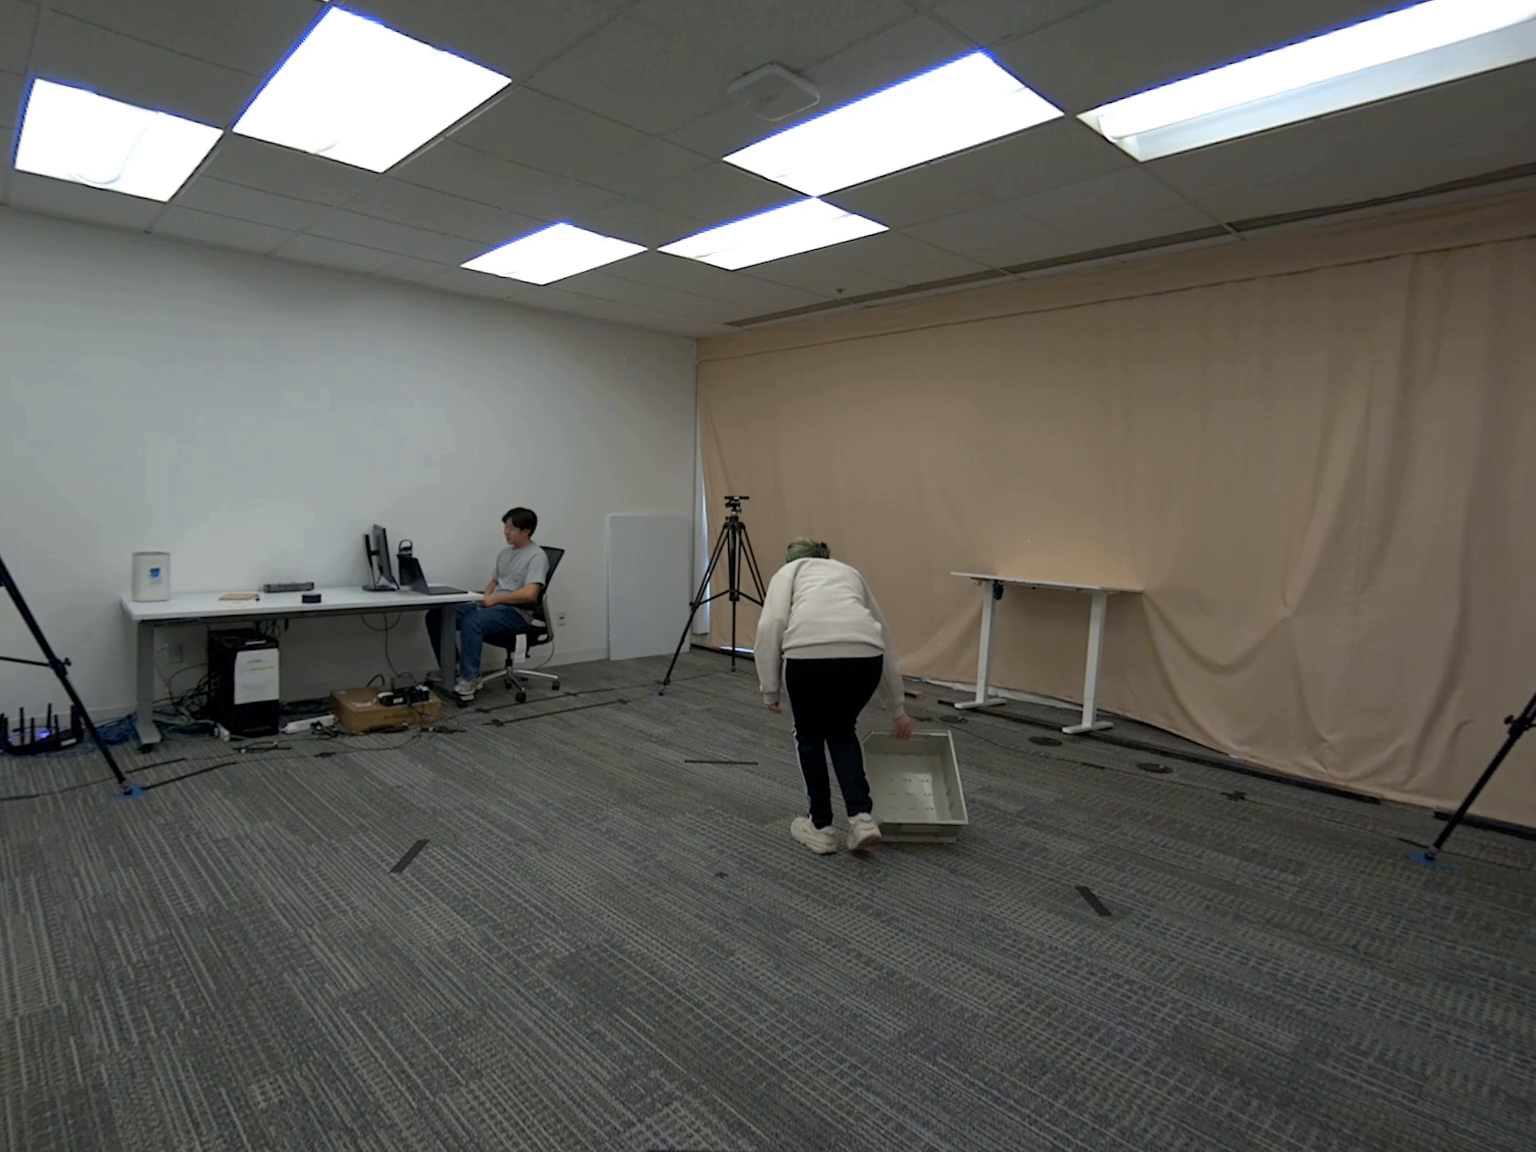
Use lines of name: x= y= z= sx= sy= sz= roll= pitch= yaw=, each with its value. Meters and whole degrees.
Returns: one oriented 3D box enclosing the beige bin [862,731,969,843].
beige bin: x=0.599 y=0.887 z=3.540 sx=0.376 sy=0.185 sz=0.432 roll=2 pitch=46 yaw=-3
